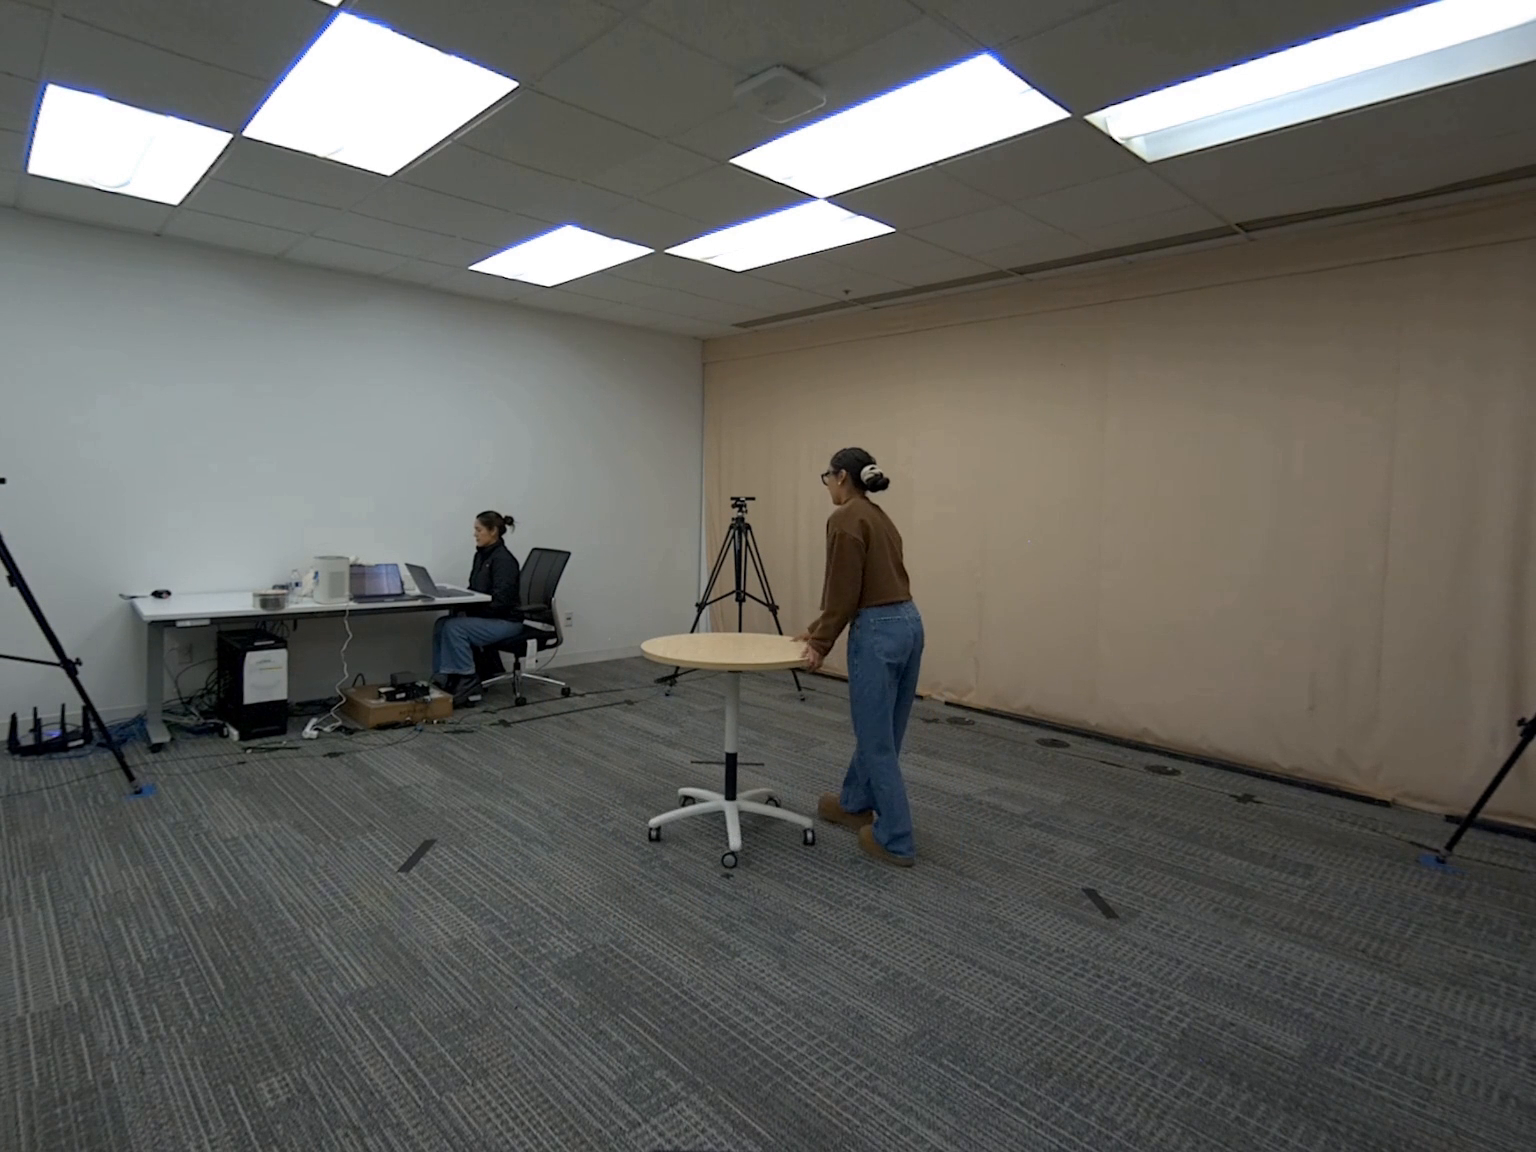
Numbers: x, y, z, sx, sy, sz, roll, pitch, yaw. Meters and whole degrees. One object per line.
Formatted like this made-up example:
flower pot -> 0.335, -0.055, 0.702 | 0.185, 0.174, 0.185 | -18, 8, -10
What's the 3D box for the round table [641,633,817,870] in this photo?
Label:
round table -> -0.171, 0.676, 3.494 | 0.784, 0.785, 0.787 | 2, 3, -1
